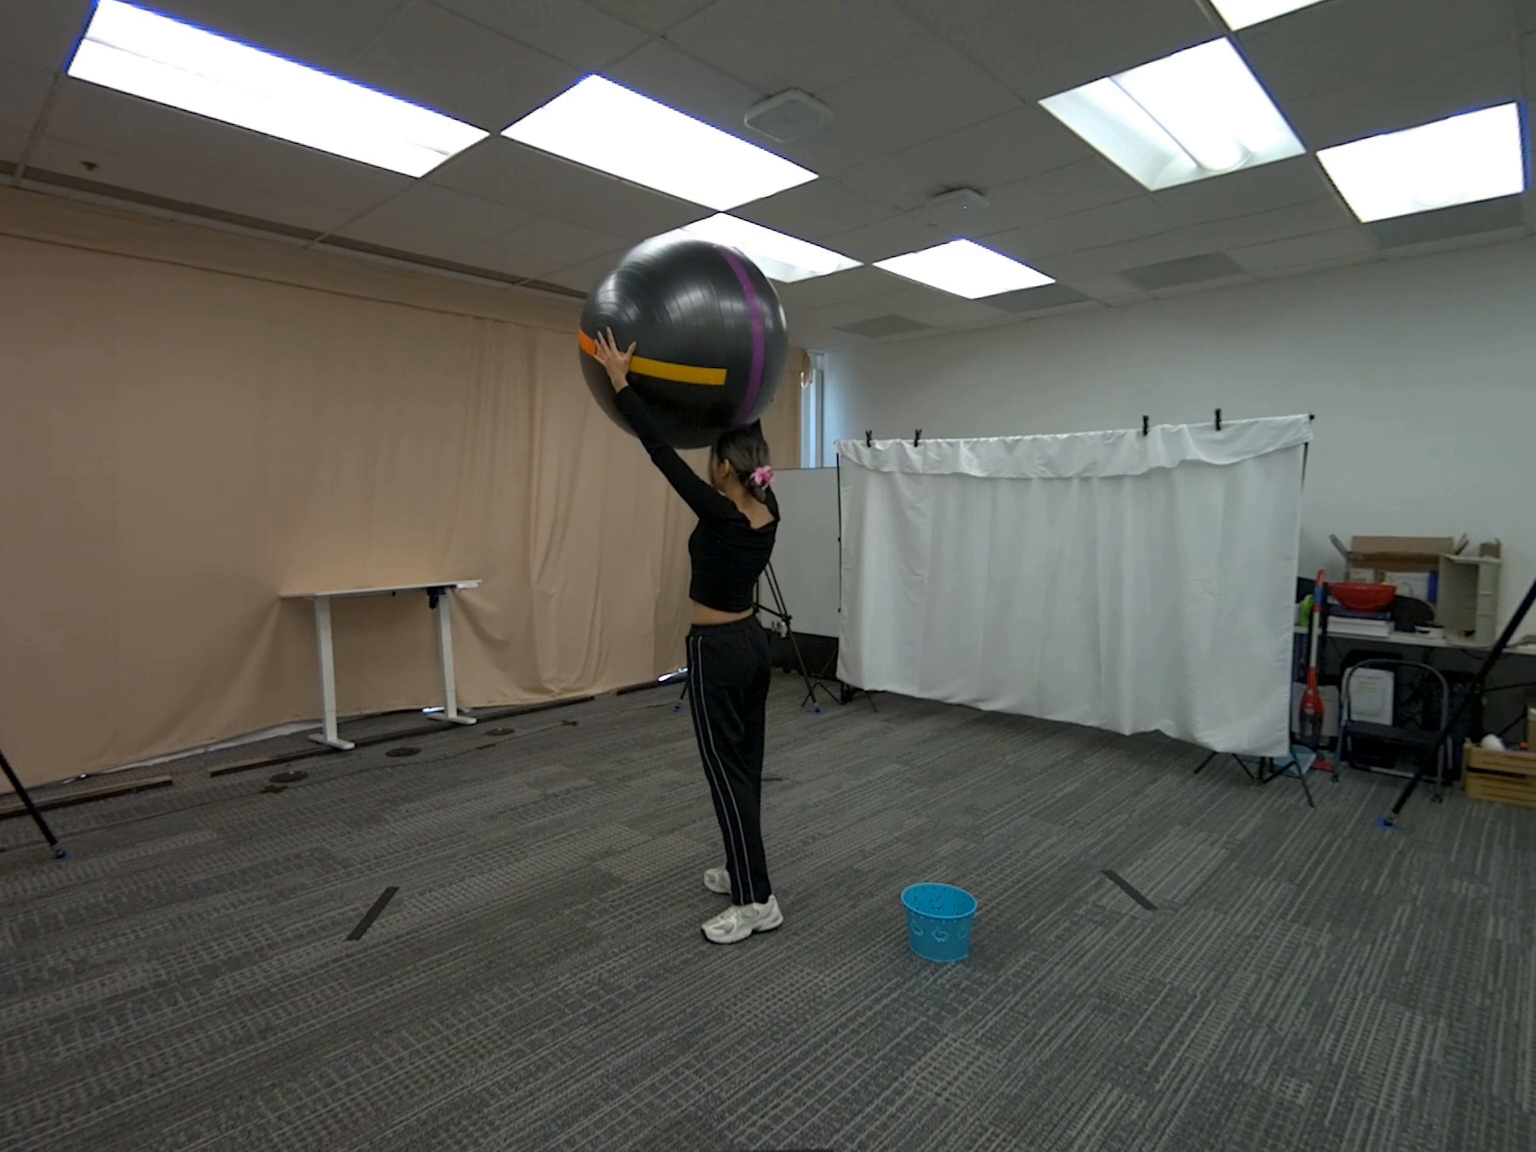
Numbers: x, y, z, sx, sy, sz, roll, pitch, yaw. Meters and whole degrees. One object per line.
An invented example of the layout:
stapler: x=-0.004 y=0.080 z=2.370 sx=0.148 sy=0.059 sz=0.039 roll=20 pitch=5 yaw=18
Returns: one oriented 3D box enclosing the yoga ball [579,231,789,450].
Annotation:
yoga ball: x=-0.305 y=-0.832 z=3.051 sx=0.757 sy=0.756 sz=0.760 roll=0 pitch=4 yaw=-2
